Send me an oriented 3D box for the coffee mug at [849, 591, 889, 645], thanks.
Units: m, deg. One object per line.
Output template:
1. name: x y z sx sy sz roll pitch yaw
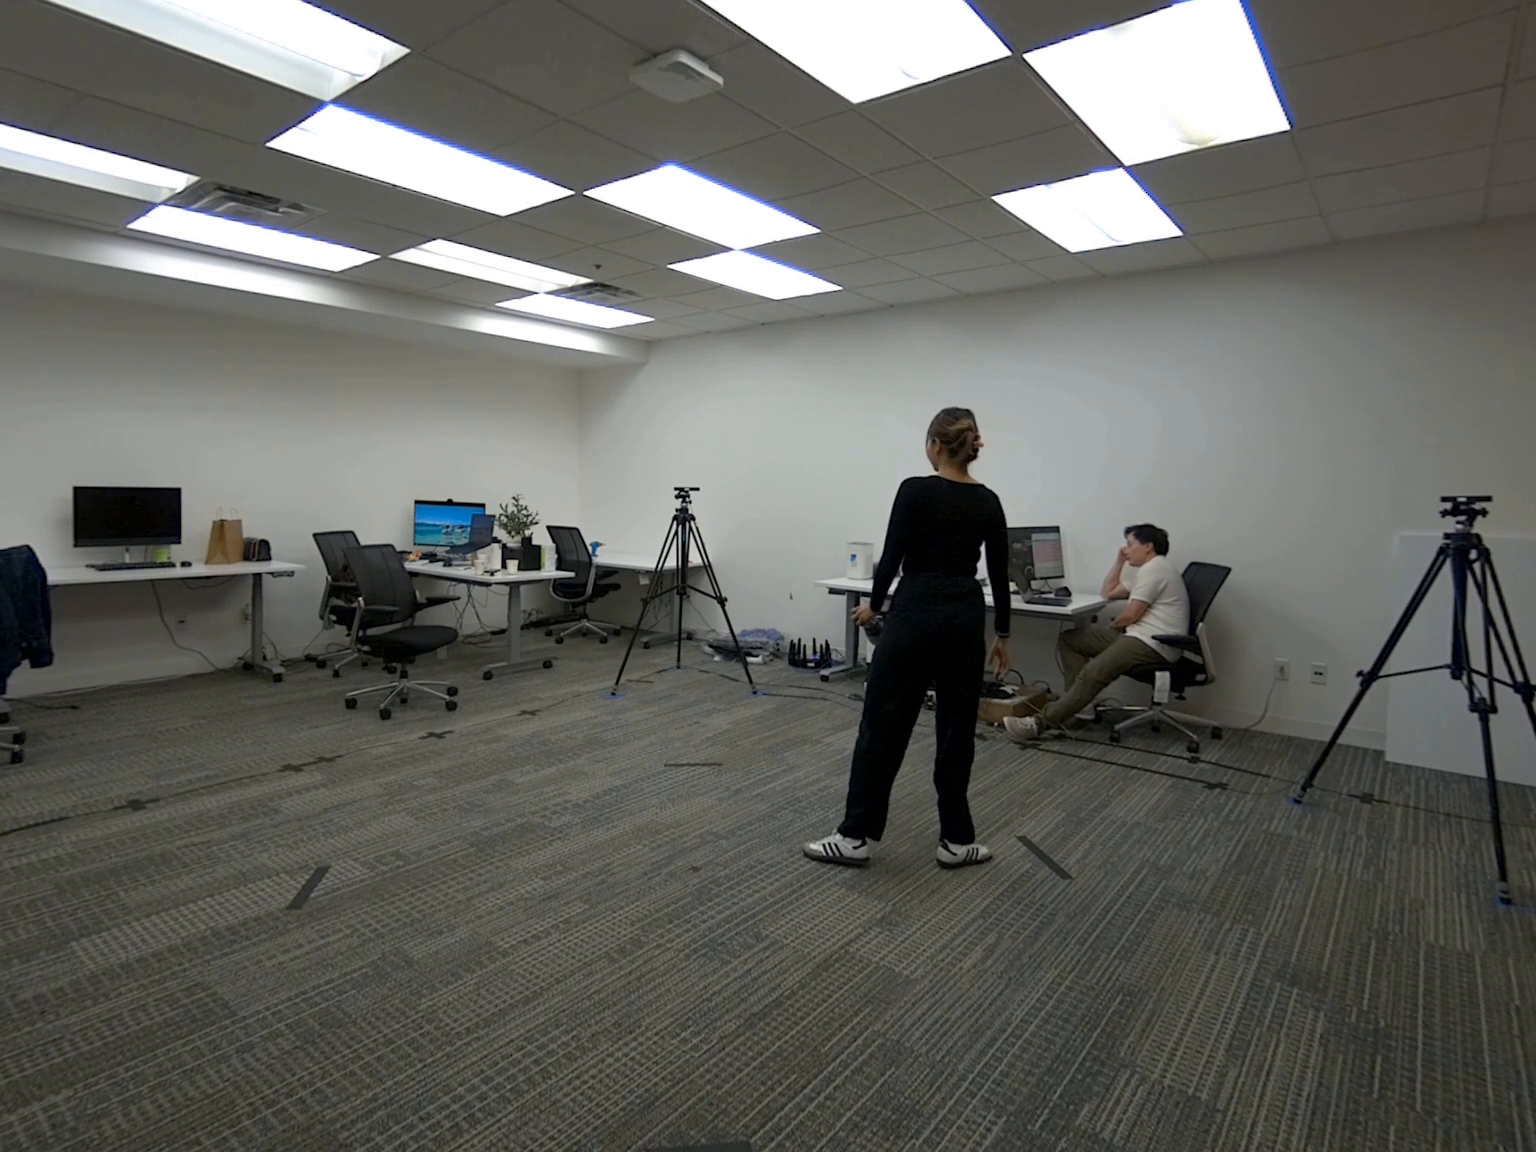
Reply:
1. coffee mug: 0.443 0.181 3.481 0.091 0.122 0.195 21 -22 46
